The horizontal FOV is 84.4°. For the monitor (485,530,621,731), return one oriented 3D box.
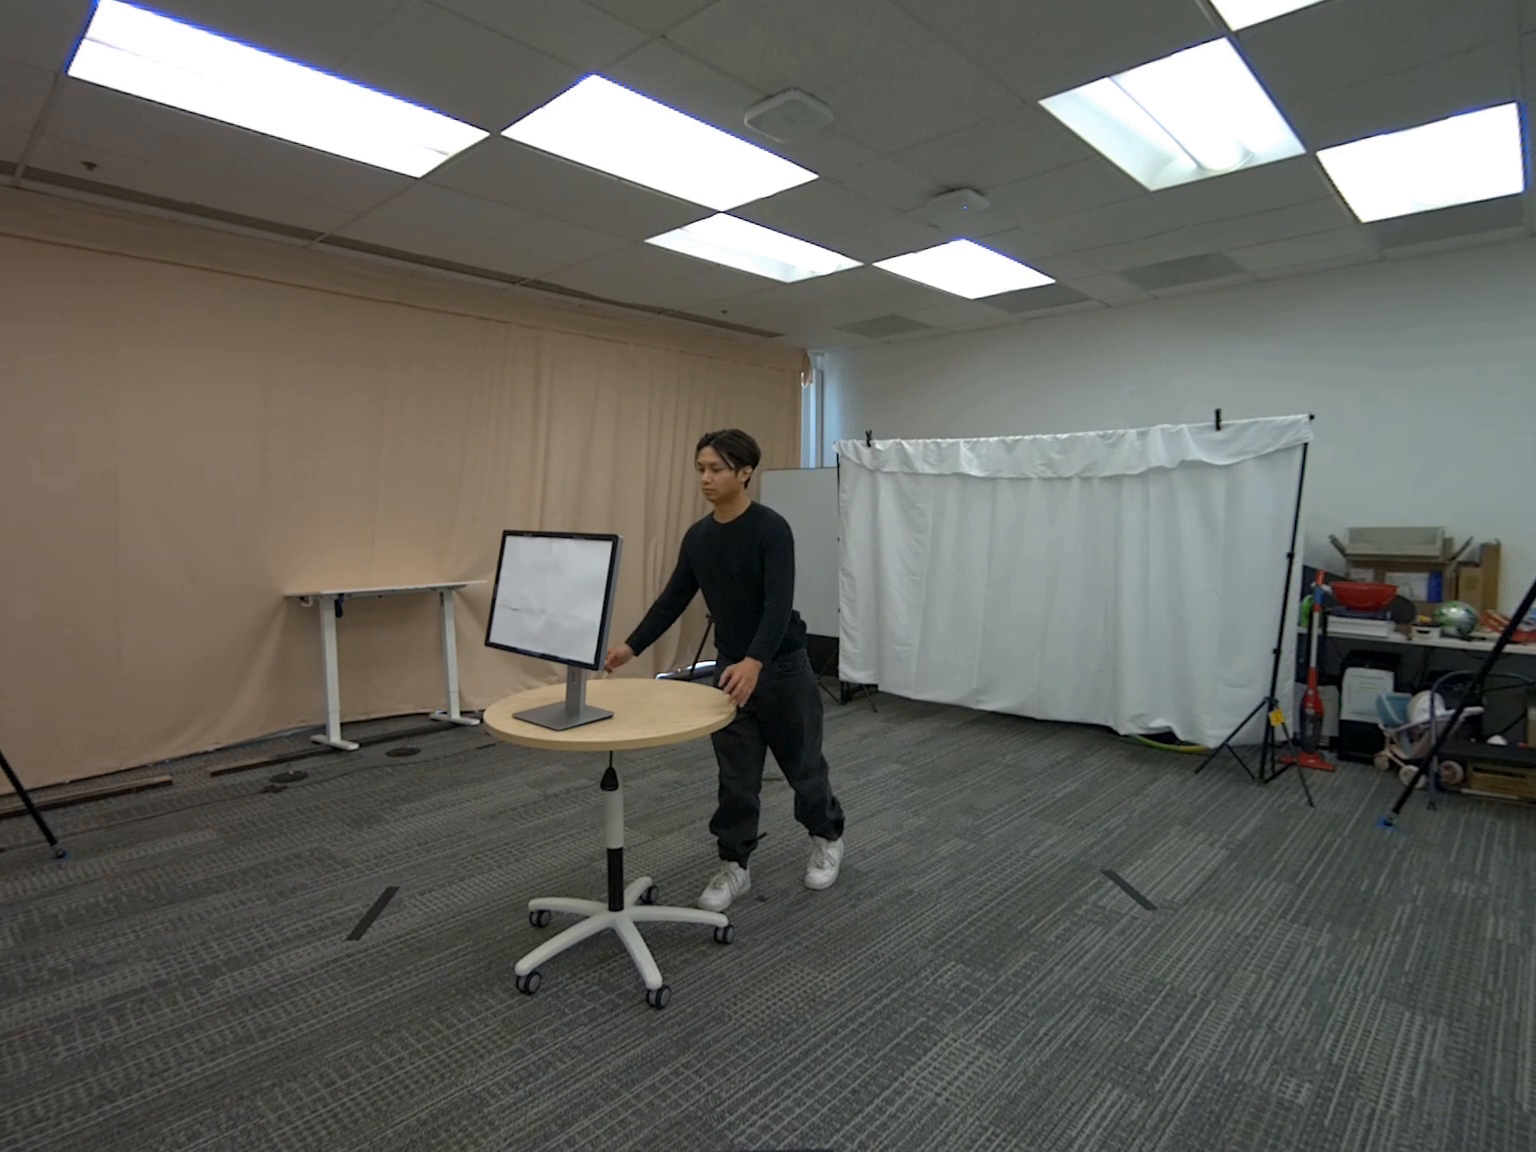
[{"bbox_3d":[-0.600,0.148,2.437,0.557,0.521,0.182,3,6,39],"label":"monitor"}]
